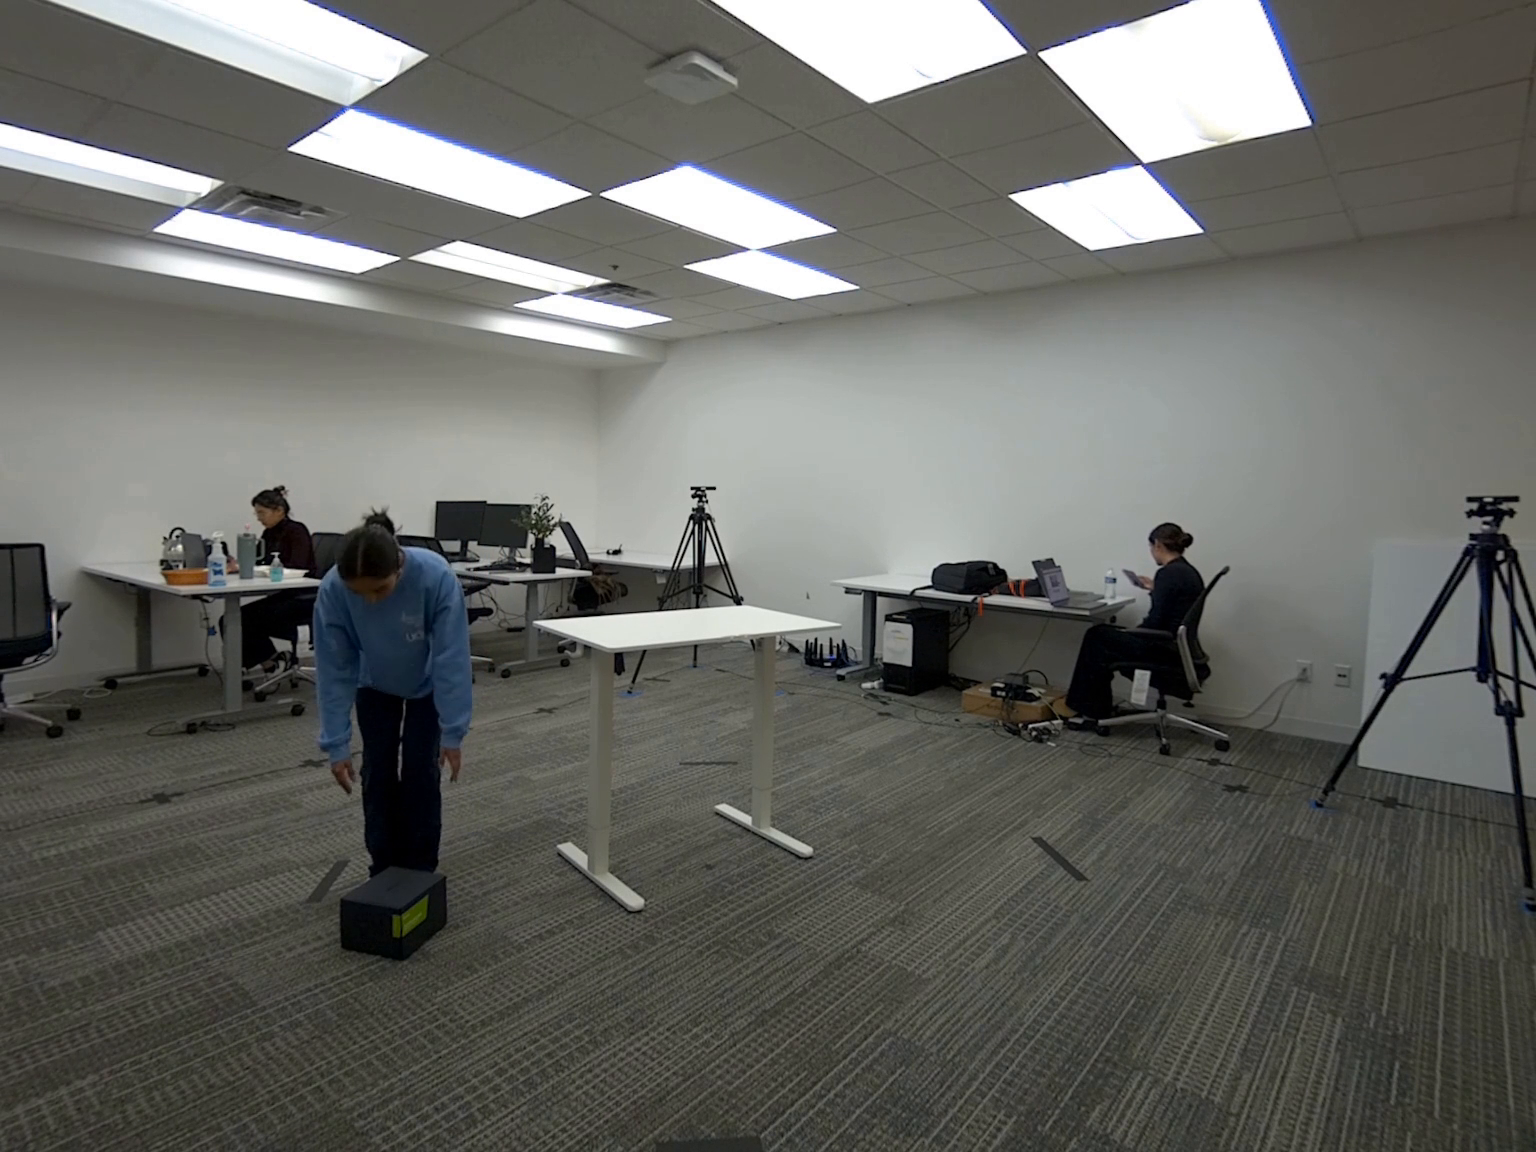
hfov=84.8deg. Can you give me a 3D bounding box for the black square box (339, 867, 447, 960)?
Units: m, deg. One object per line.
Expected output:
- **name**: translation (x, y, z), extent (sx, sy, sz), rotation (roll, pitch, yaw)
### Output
- **black square box**: translation (-1.150, 1.020, 2.602), extent (0.221, 0.155, 0.225), rotation (2, 4, 14)
